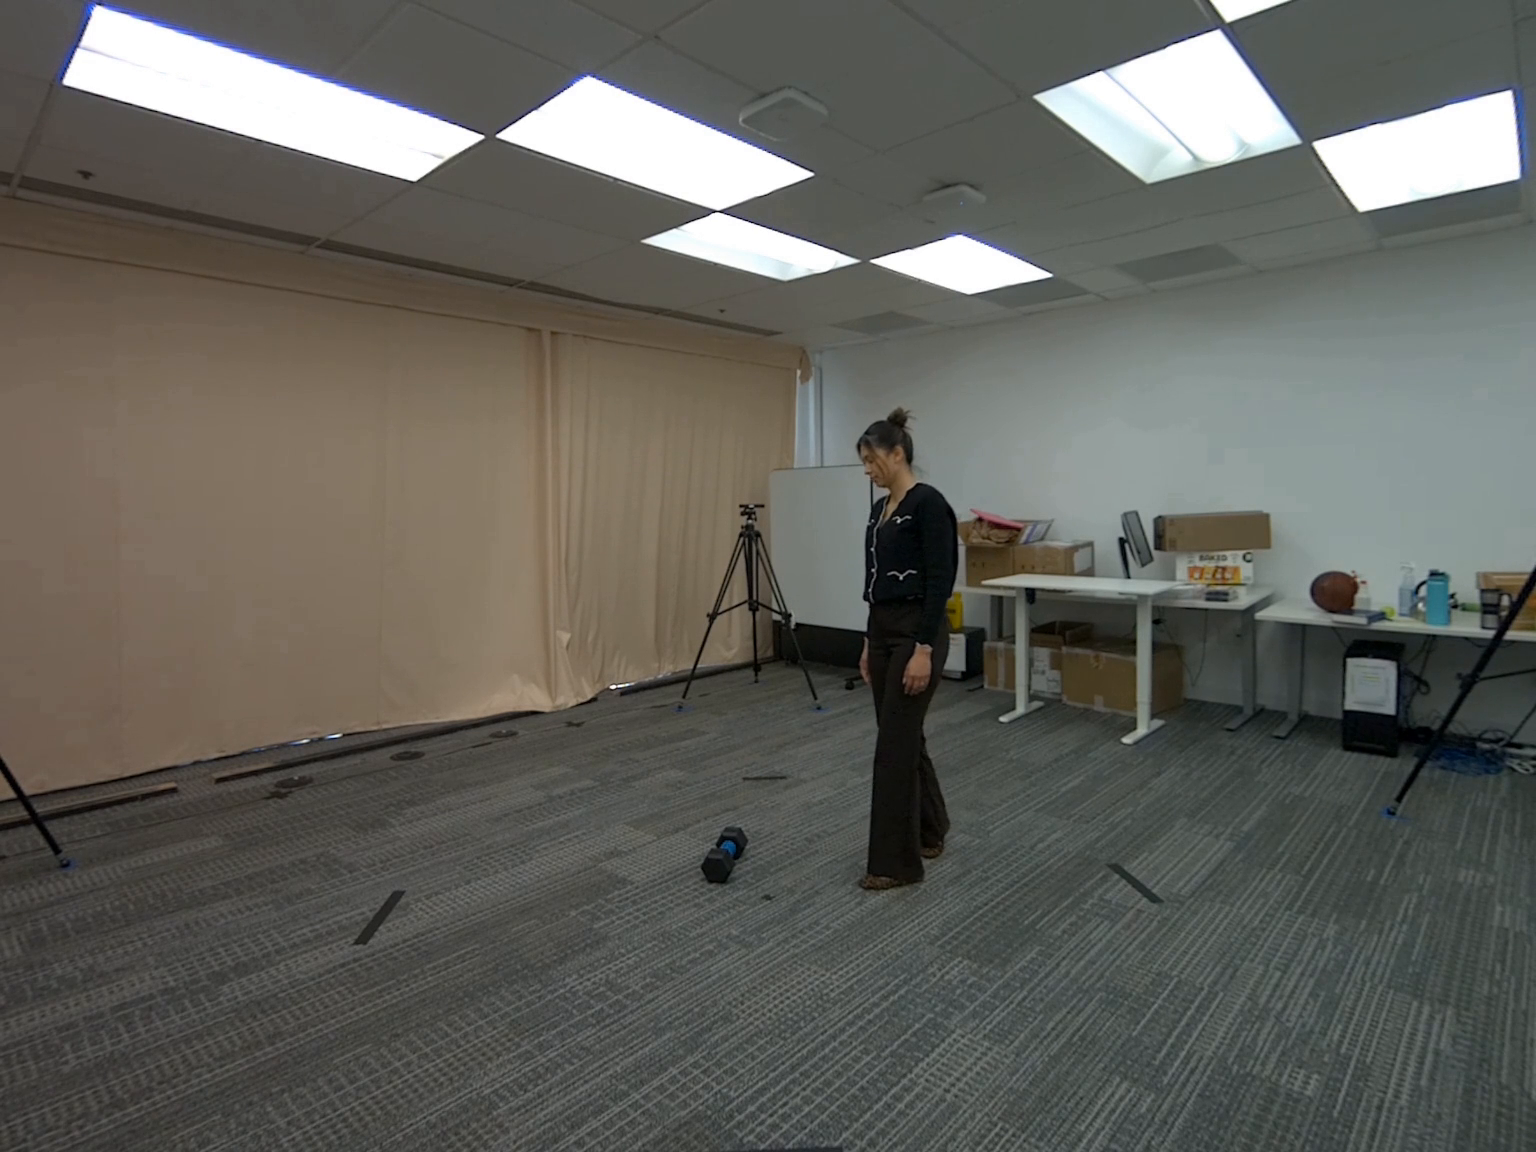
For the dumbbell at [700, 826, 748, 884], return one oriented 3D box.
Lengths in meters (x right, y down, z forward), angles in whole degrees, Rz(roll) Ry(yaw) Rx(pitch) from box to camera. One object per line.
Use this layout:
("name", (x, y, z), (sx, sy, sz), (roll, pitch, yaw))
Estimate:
("dumbbell", (-0.163, 1.068, 3.237), (0.110, 0.123, 0.290), (29, 11, 9))
